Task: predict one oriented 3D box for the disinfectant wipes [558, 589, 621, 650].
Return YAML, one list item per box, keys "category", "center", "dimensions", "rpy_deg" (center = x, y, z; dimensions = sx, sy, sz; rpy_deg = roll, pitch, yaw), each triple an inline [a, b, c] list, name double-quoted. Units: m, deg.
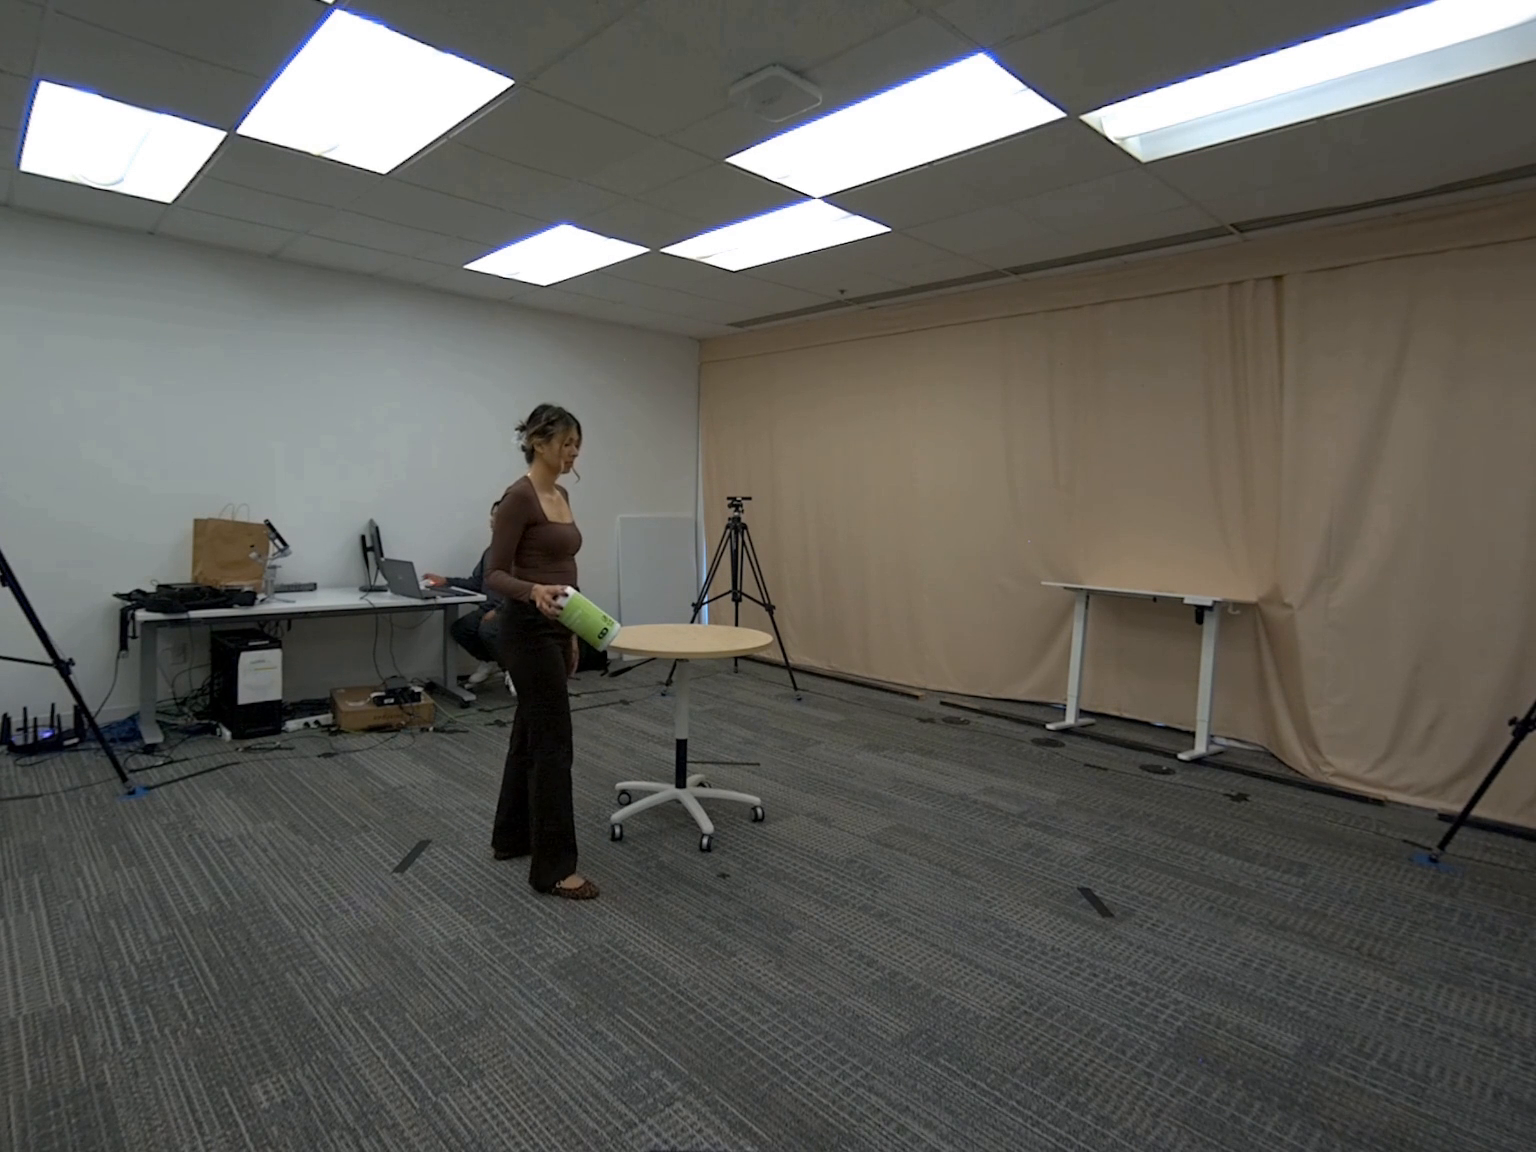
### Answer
- category: "disinfectant wipes"
  center: [-0.585, 0.136, 2.684]
  dimensions: [0.215, 0.118, 0.119]
  rpy_deg: [40, -4, -11]
